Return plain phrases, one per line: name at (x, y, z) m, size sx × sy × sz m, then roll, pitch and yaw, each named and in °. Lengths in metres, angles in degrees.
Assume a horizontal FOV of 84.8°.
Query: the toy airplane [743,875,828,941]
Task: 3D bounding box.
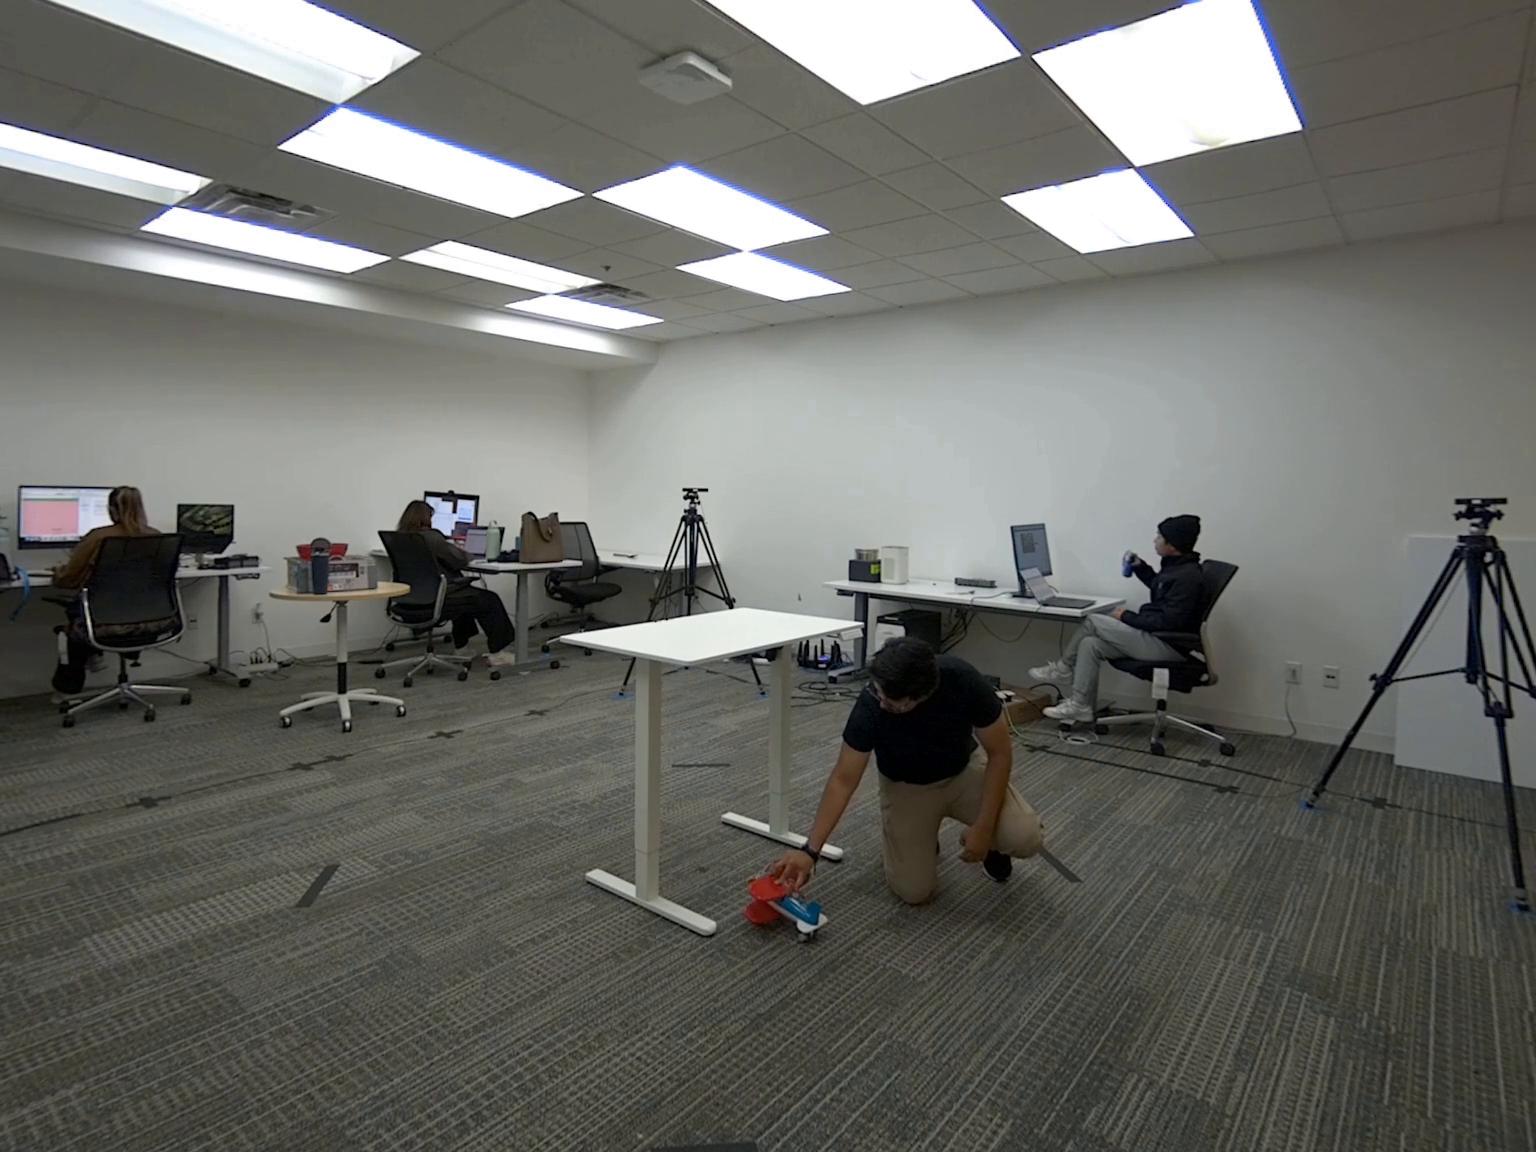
toy airplane at (0.056, 1.041, 2.717) m, size 0.264 × 0.156 × 0.246 m, roll 1°, pitch 2°, yaw 17°
